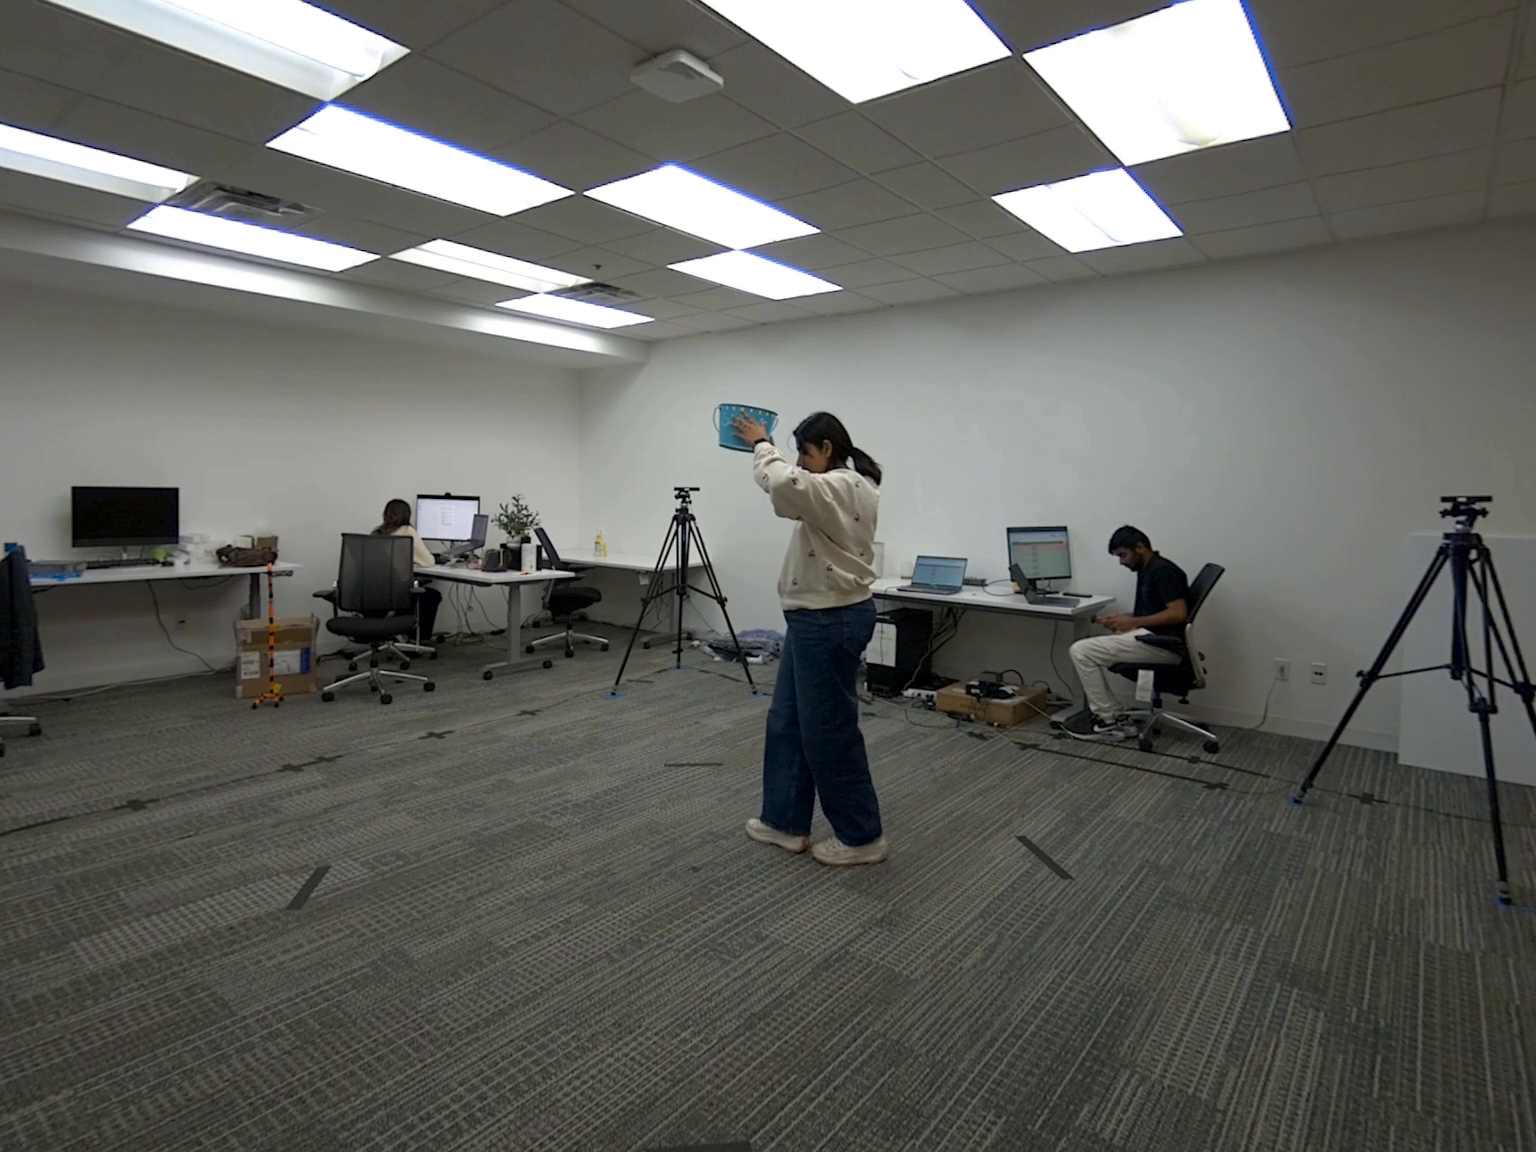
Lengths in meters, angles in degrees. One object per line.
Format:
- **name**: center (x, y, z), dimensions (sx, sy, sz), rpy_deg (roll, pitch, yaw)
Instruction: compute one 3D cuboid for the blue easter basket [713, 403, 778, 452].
- **blue easter basket**: center (-0.091, -0.566, 3.249), dimensions (0.243, 0.156, 0.244), rpy_deg (9, 3, -2)
